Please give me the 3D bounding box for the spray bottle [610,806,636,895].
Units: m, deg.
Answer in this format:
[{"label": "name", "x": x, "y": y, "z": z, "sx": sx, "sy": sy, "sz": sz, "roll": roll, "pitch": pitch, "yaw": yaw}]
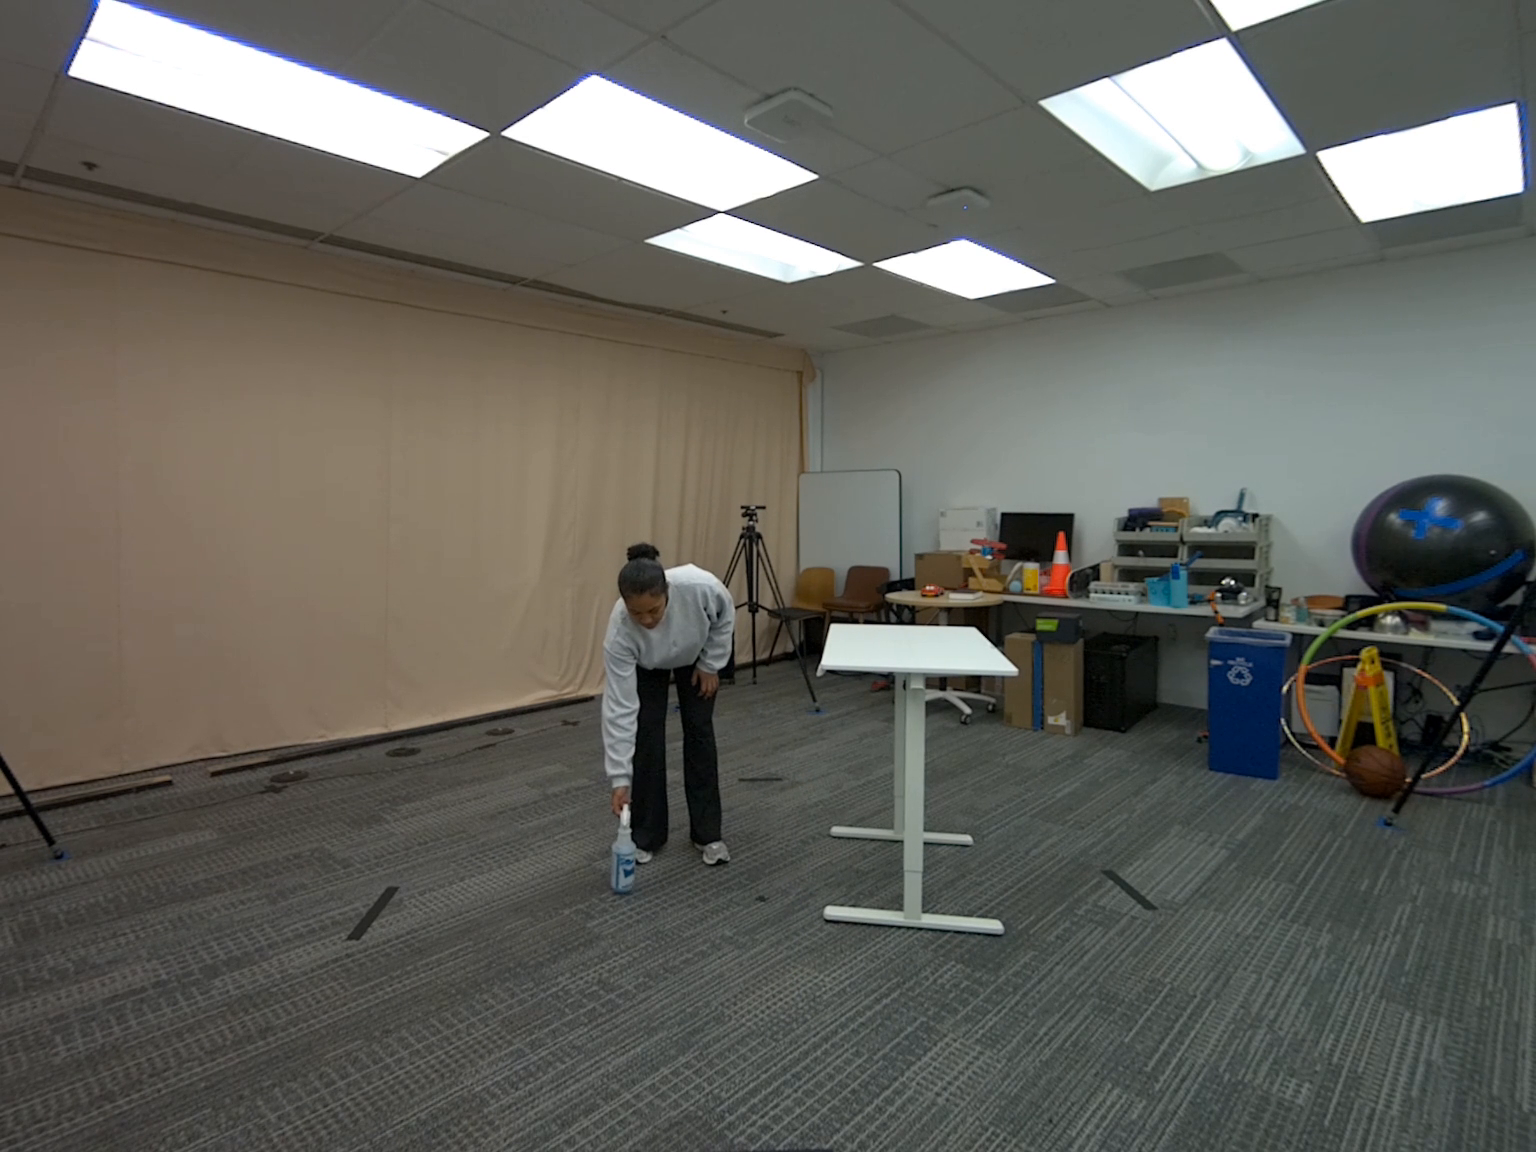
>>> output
[{"label": "spray bottle", "x": -0.518, "y": 0.967, "z": 3.022, "sx": 0.088, "sy": 0.296, "sz": 0.089, "roll": 7, "pitch": 10, "yaw": 14}]
